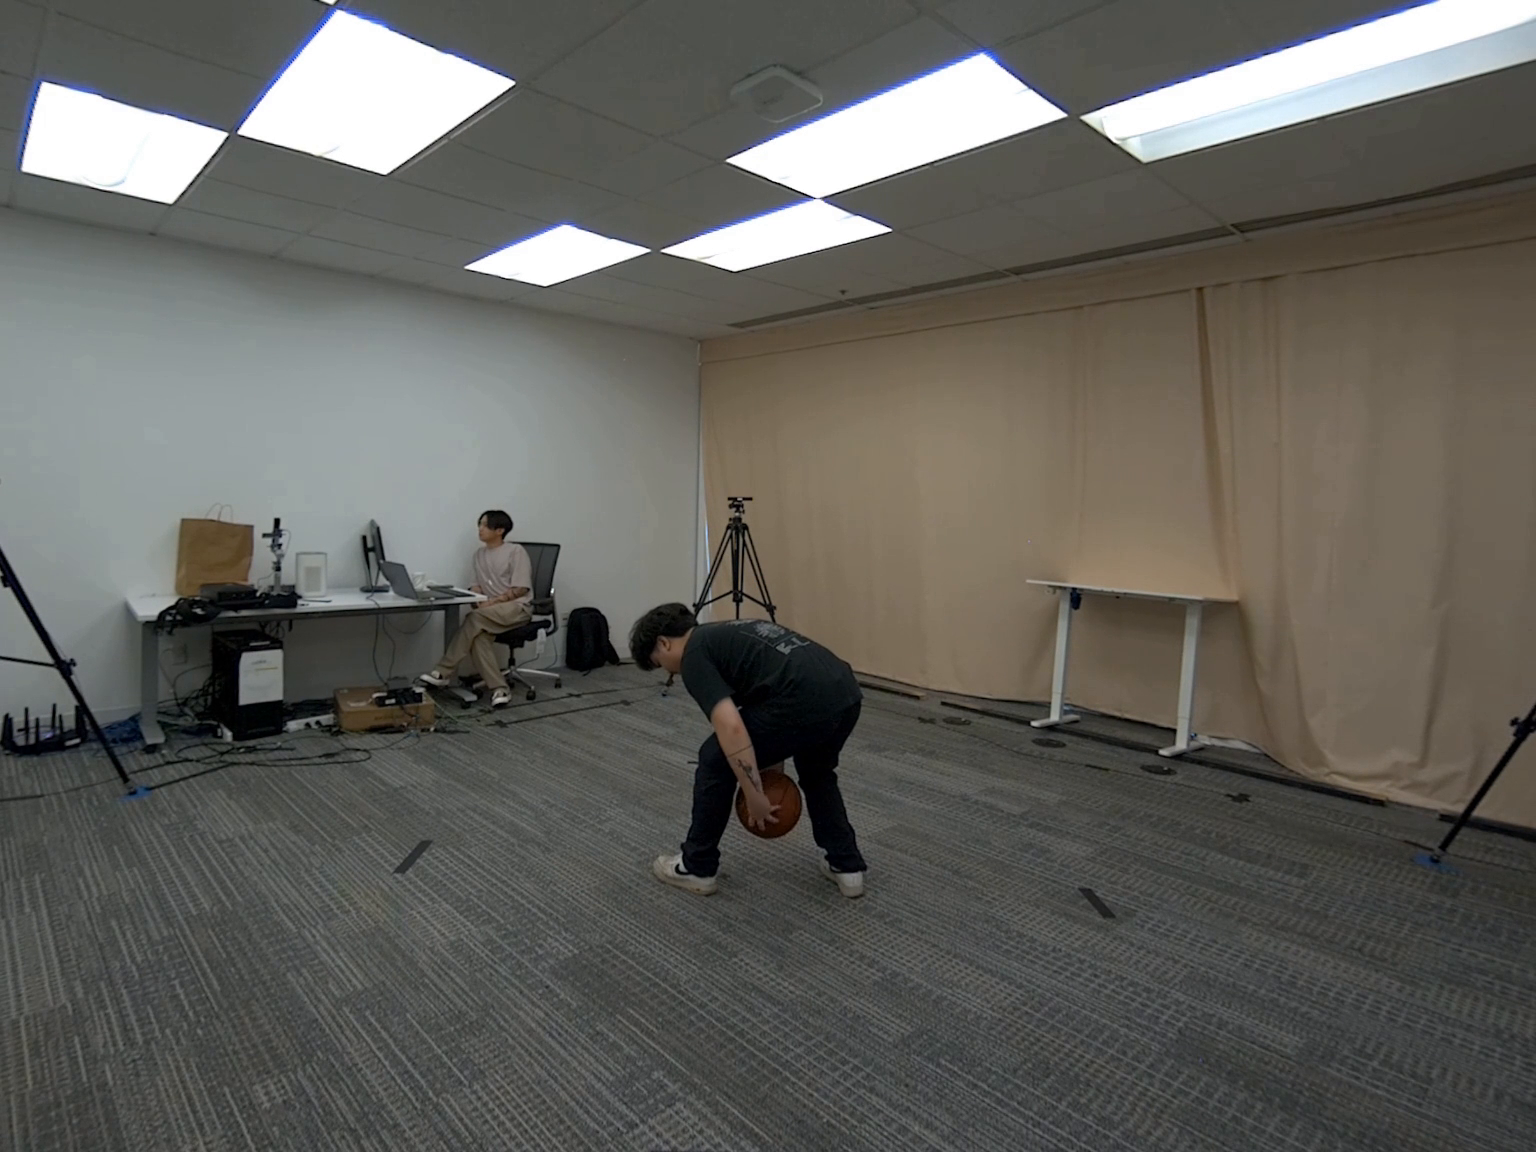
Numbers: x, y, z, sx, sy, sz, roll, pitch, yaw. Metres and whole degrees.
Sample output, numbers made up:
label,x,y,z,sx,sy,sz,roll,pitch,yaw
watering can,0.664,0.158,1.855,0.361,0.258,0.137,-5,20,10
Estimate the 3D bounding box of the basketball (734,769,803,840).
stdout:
label,x,y,z,sx,sy,sz,roll,pitch,yaw
basketball,-0.006,0.804,2.992,0.236,0.235,0.237,1,4,-1
